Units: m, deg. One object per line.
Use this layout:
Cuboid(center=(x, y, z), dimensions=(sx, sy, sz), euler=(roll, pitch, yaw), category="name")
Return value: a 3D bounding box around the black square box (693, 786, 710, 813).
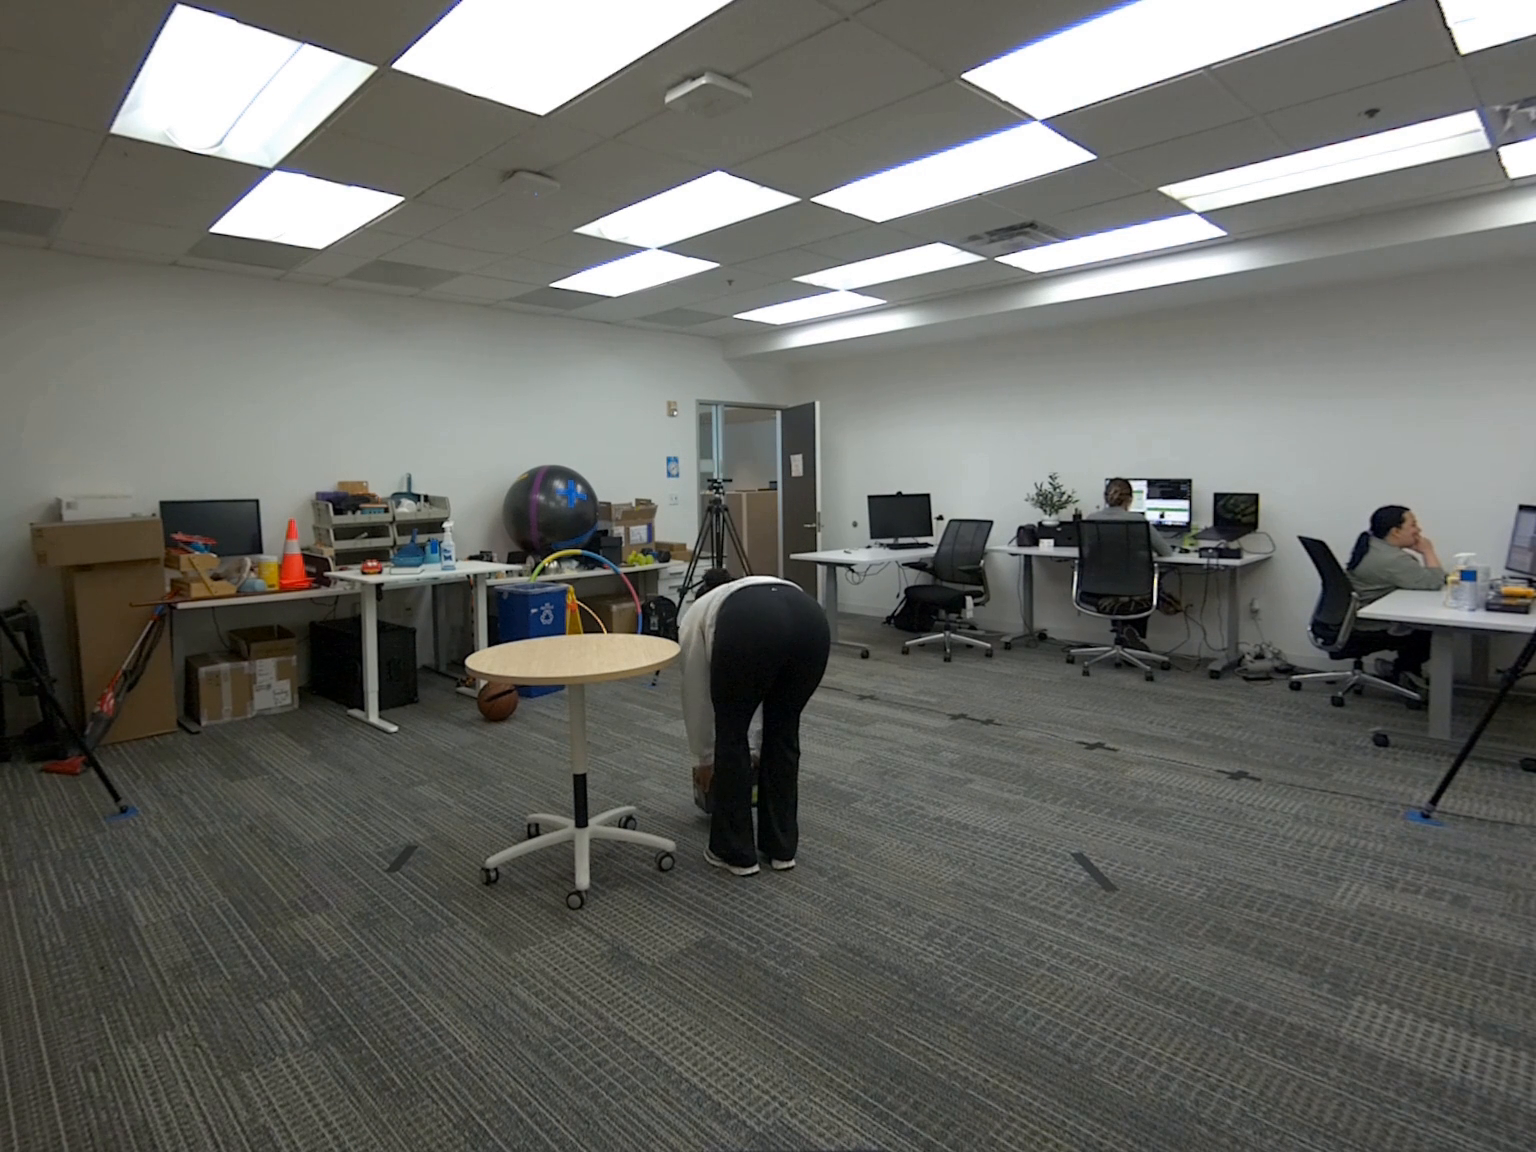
Cuboid(center=(-0.166, 0.849, 3.500), dimensions=(0.225, 0.157, 0.219), euler=(-4, -4, -16), category="black square box")
